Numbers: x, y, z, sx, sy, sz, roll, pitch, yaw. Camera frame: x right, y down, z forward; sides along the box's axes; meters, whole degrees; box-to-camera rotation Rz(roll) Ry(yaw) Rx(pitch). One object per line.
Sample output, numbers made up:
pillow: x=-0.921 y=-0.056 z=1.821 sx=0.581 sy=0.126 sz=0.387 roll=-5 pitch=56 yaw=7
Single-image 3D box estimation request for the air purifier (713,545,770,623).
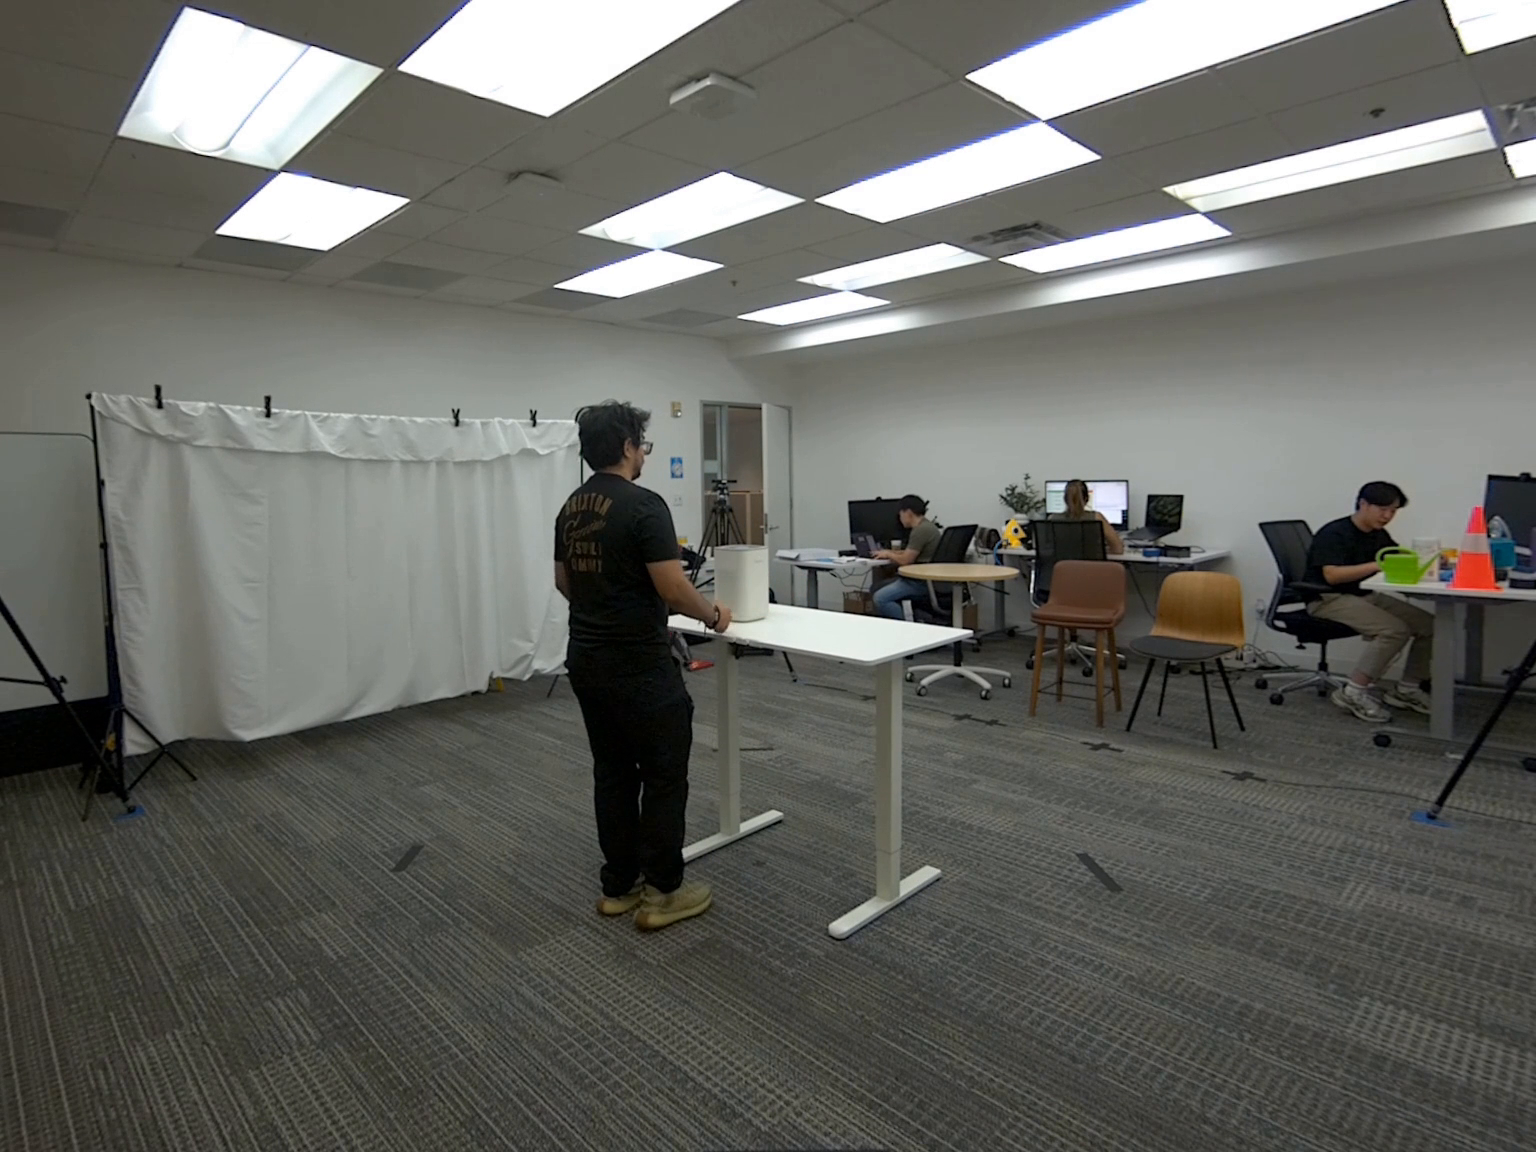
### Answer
air purifier: x=-0.095 y=0.025 z=3.146 sx=0.177 sy=0.264 sz=0.166 roll=3 pitch=6 yaw=39
